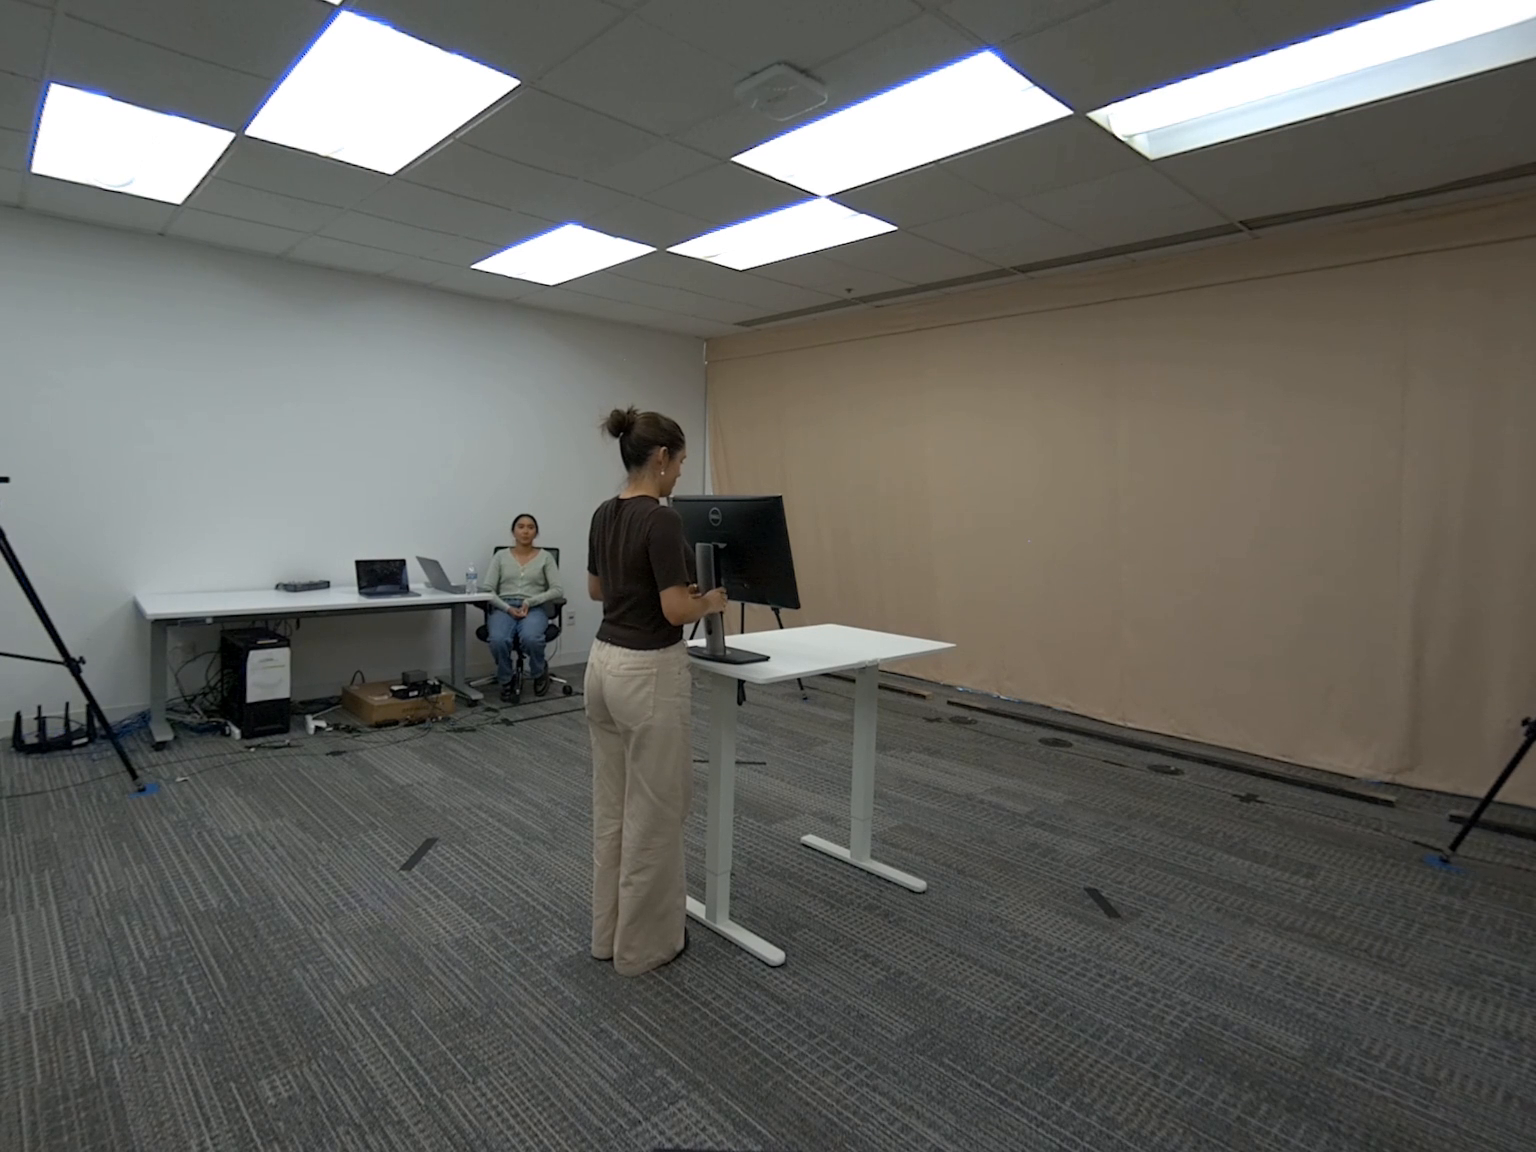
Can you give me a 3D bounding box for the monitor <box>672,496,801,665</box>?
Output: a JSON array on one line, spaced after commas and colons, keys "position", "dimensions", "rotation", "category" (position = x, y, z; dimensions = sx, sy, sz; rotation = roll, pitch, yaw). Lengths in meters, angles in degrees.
[{"position": [-0.141, 0.002, 2.660], "dimensions": [0.543, 0.516, 0.170], "rotation": [3, 1, 45], "category": "monitor"}]
